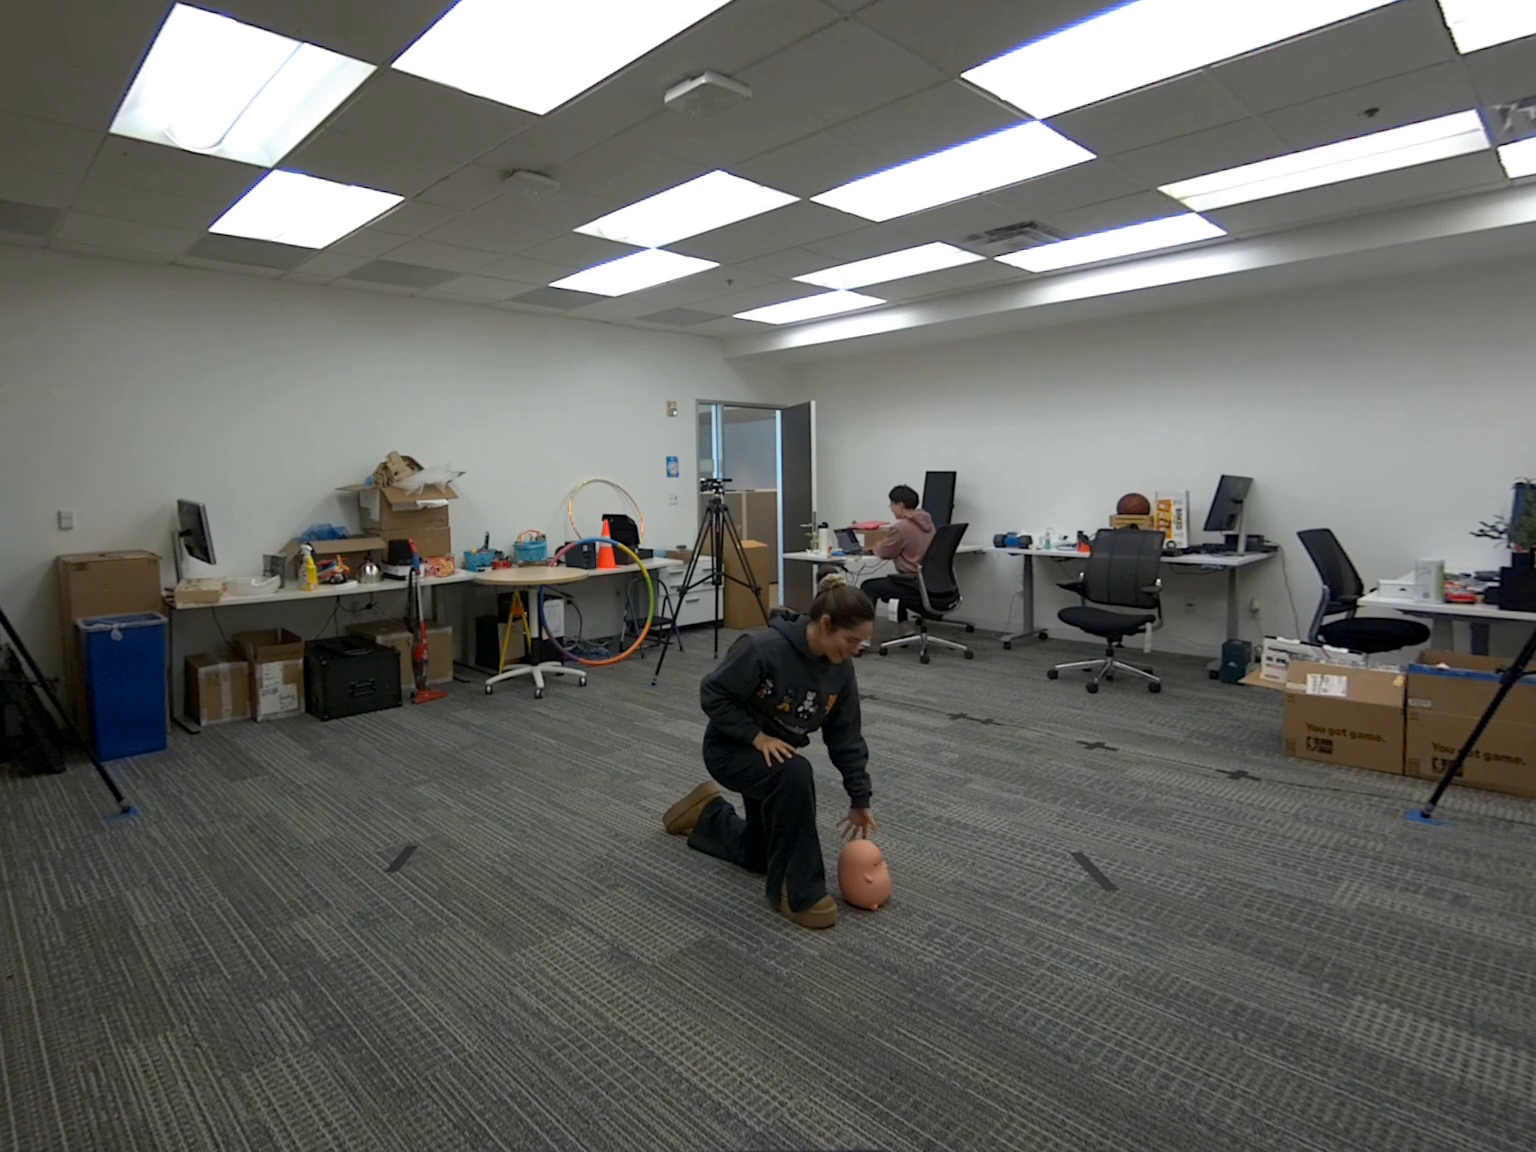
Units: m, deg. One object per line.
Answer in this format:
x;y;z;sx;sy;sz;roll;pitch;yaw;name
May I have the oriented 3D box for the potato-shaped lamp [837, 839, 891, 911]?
0.320;0.972;2.808;0.176;0.197;0.161;2;8;39;potato-shaped lamp
